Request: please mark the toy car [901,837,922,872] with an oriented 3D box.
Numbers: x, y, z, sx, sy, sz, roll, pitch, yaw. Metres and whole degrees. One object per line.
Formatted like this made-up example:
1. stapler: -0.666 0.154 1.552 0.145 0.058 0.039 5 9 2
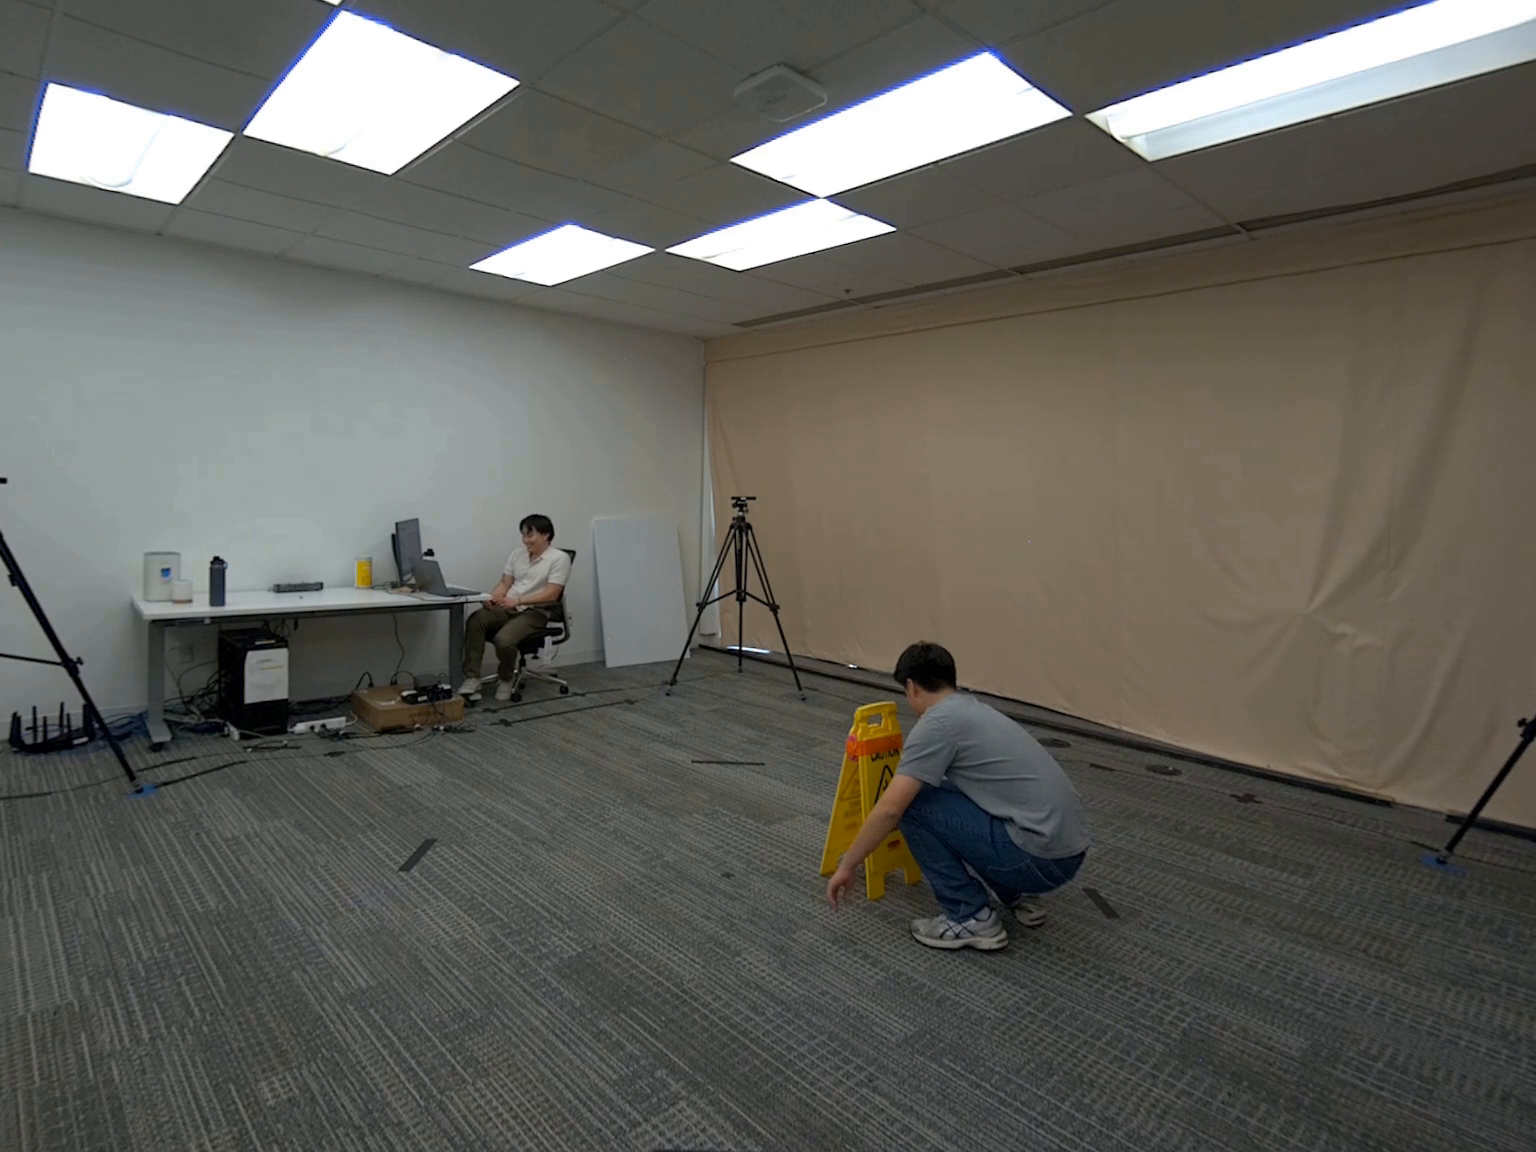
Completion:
1. toy car: 0.592 1.083 3.309 0.132 0.083 0.250 2 -6 12
